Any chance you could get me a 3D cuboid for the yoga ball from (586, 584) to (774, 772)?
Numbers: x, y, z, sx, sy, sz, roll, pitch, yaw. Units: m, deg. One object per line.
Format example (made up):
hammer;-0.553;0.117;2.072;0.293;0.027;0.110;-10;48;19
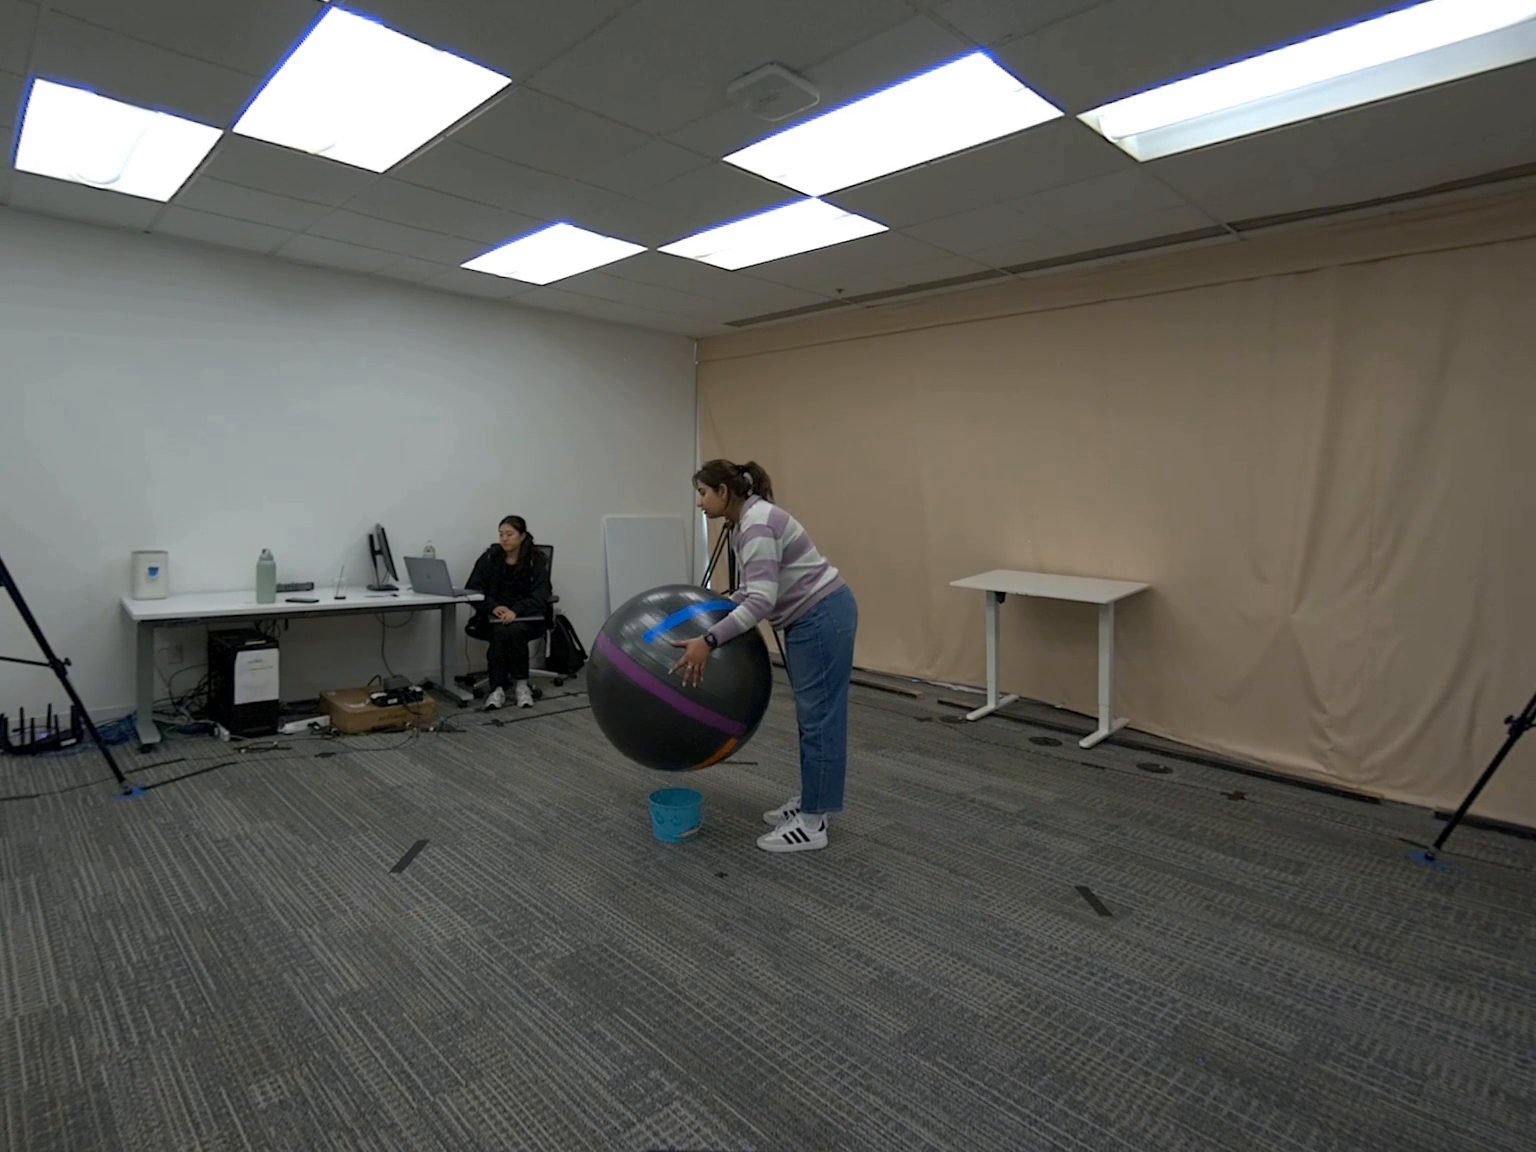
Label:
yoga ball;-0.363;0.421;3.463;0.757;0.756;0.761;1;4;-1
